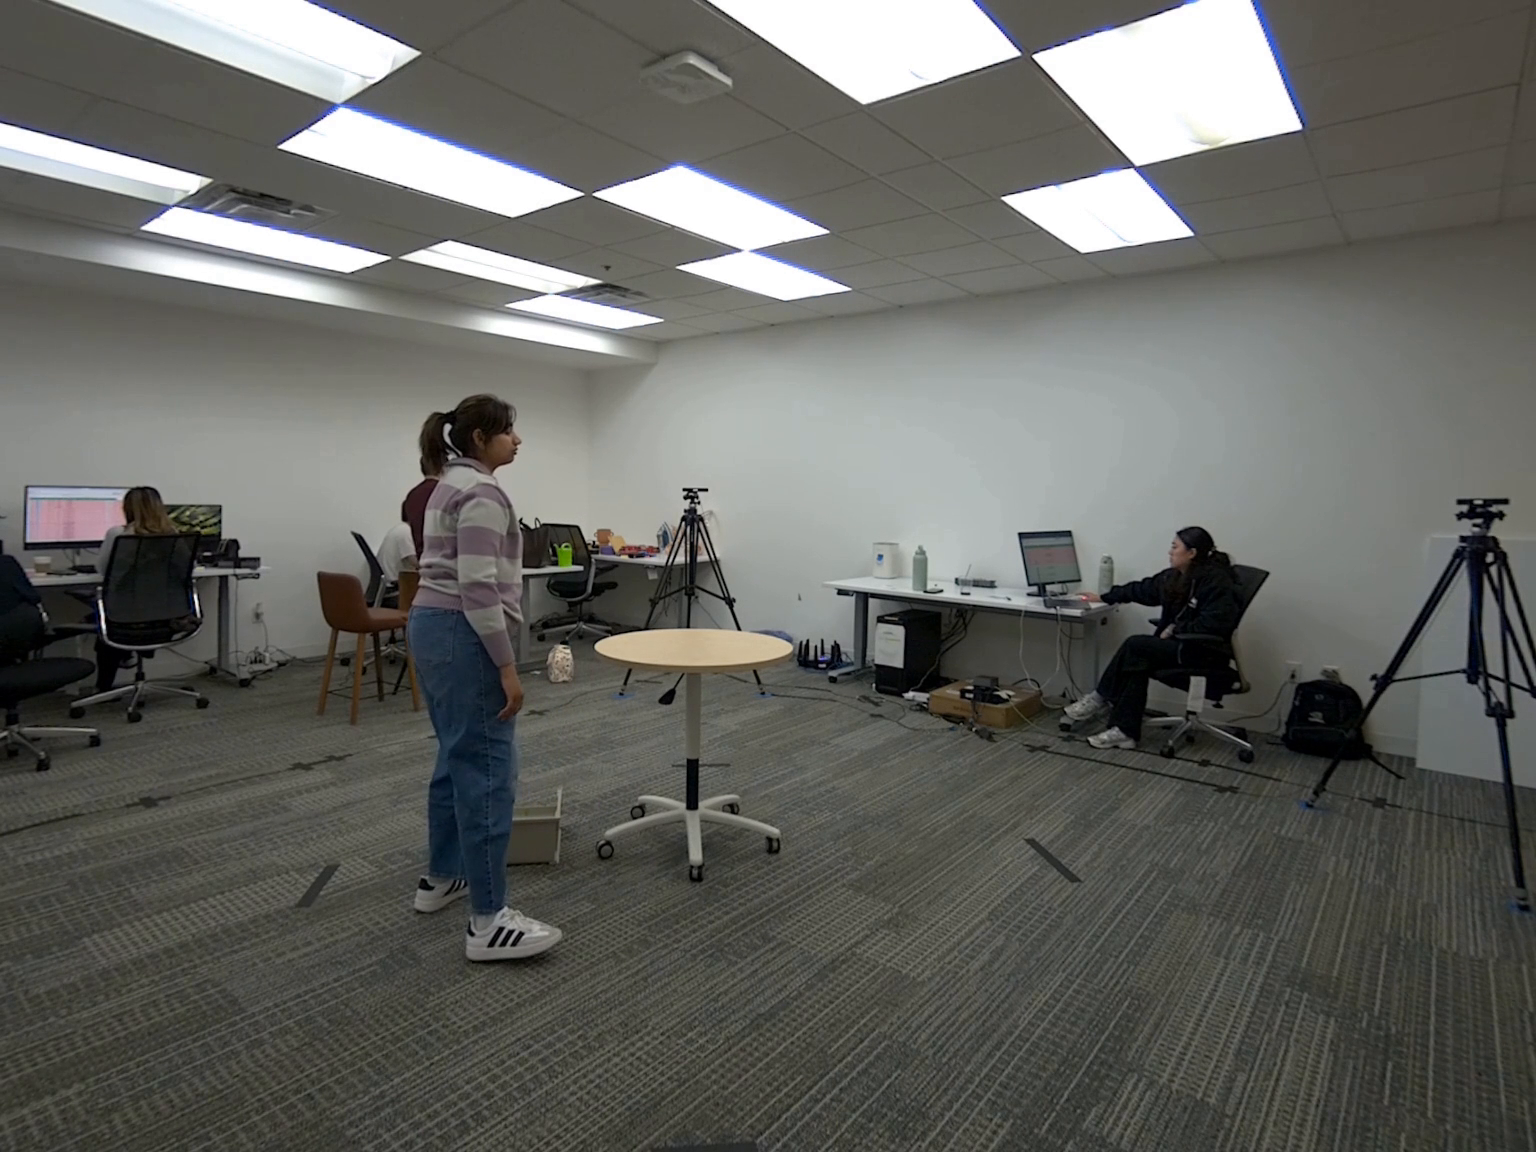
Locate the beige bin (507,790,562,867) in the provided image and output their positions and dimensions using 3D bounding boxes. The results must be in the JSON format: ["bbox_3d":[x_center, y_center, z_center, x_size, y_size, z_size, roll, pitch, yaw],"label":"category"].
[{"bbox_3d":[-1.021,0.957,3.271,0.418,0.188,0.383,0,6,-10],"label":"beige bin"}]
